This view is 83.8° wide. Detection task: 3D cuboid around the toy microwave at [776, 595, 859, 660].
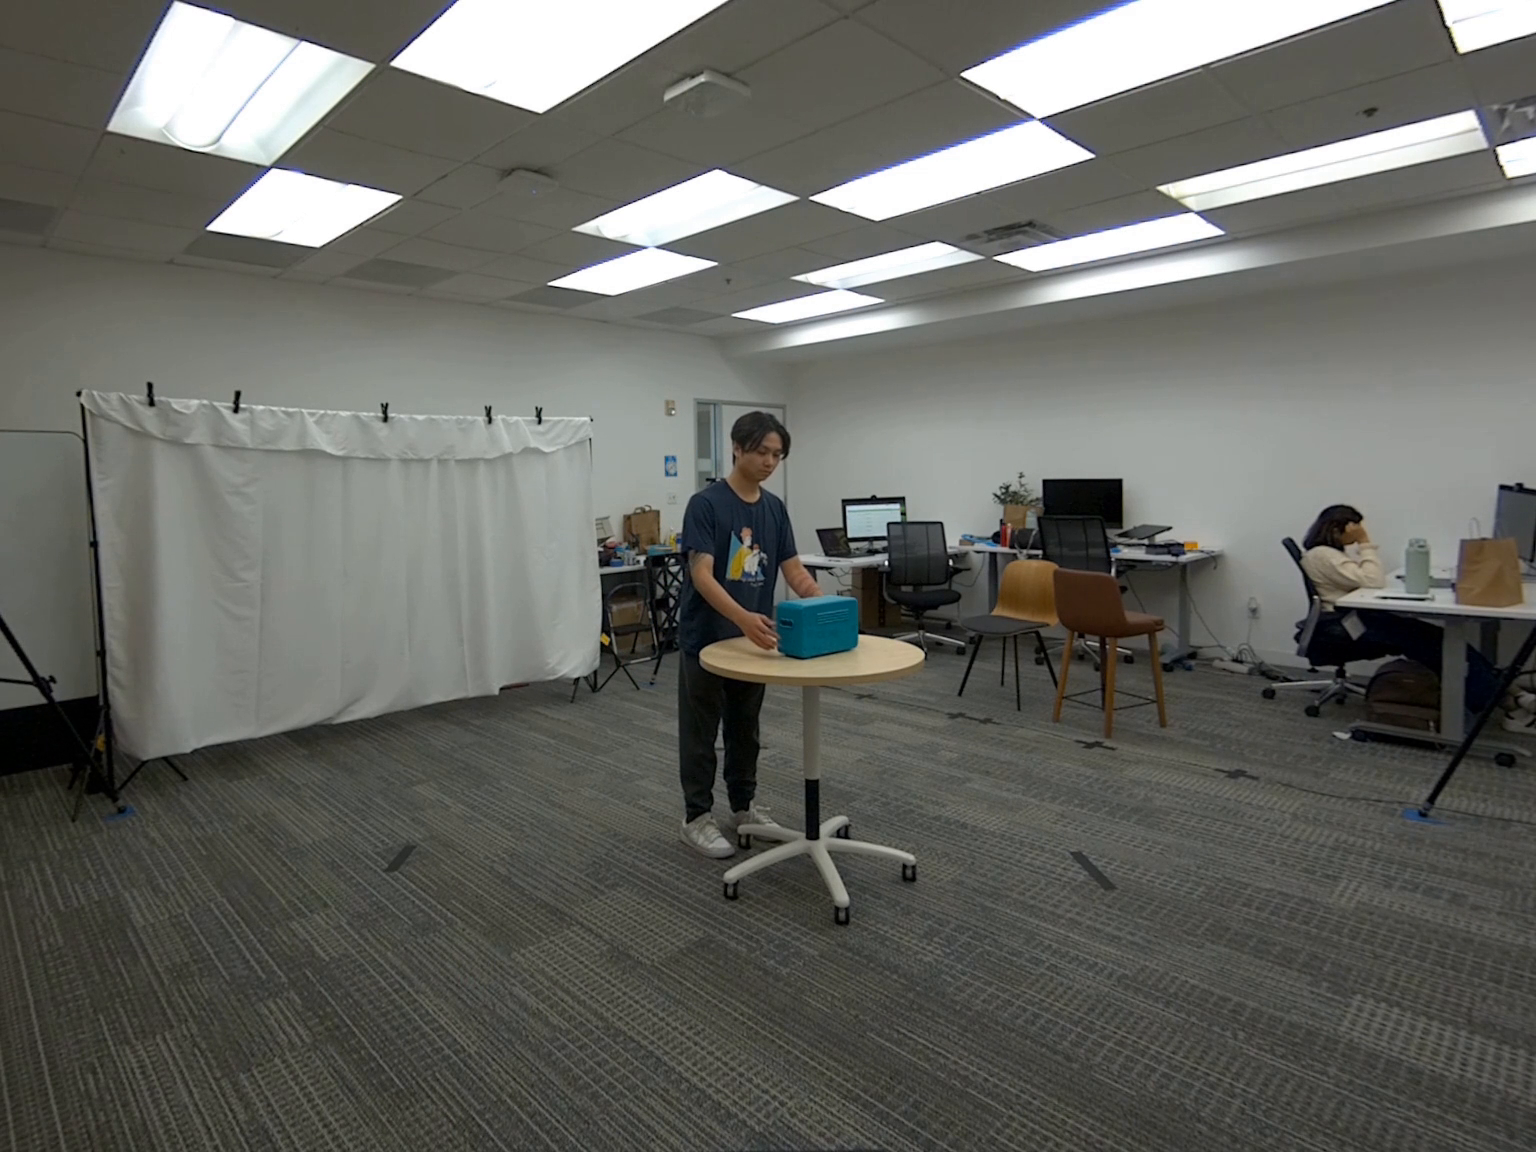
[{"bbox_3d":[0.169,0.172,2.929,0.279,0.183,0.157,-4,6,-36],"label":"toy microwave"}]
